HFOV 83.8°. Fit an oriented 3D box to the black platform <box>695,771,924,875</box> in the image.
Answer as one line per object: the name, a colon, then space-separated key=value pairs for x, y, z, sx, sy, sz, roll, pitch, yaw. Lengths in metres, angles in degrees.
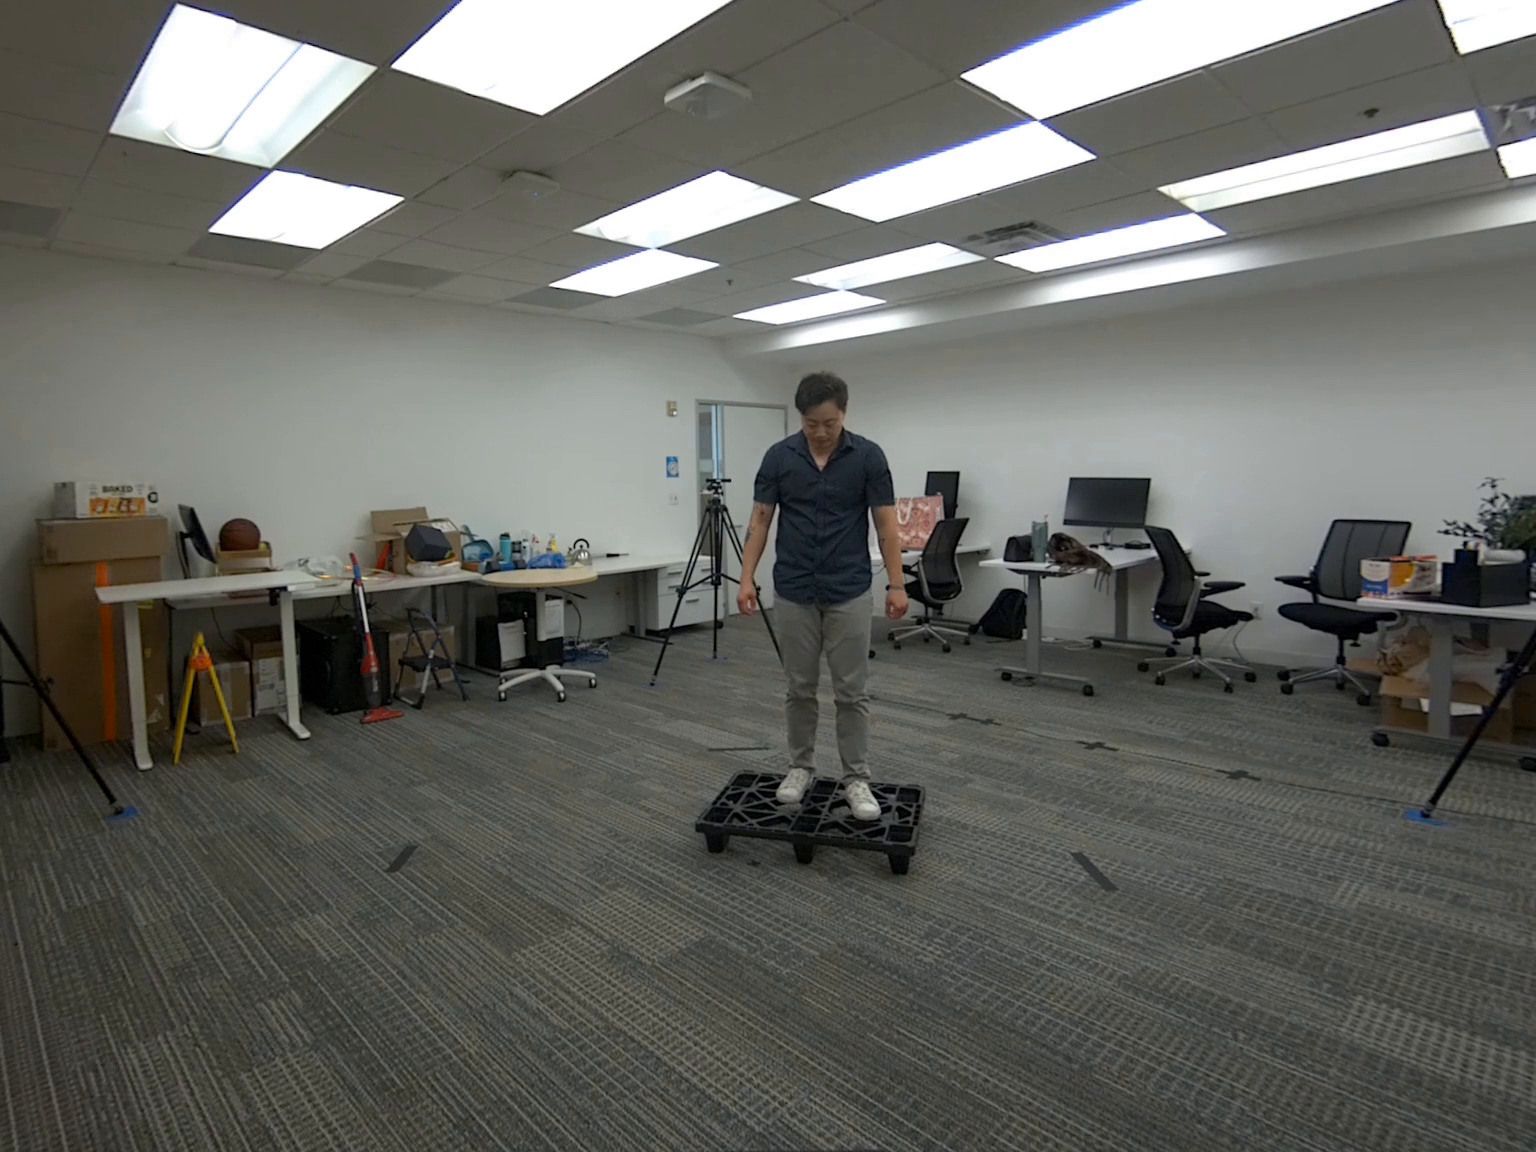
black platform: x=0.183 y=0.949 z=3.323 sx=0.819 sy=0.143 sz=0.598 roll=1 pitch=6 yaw=16
